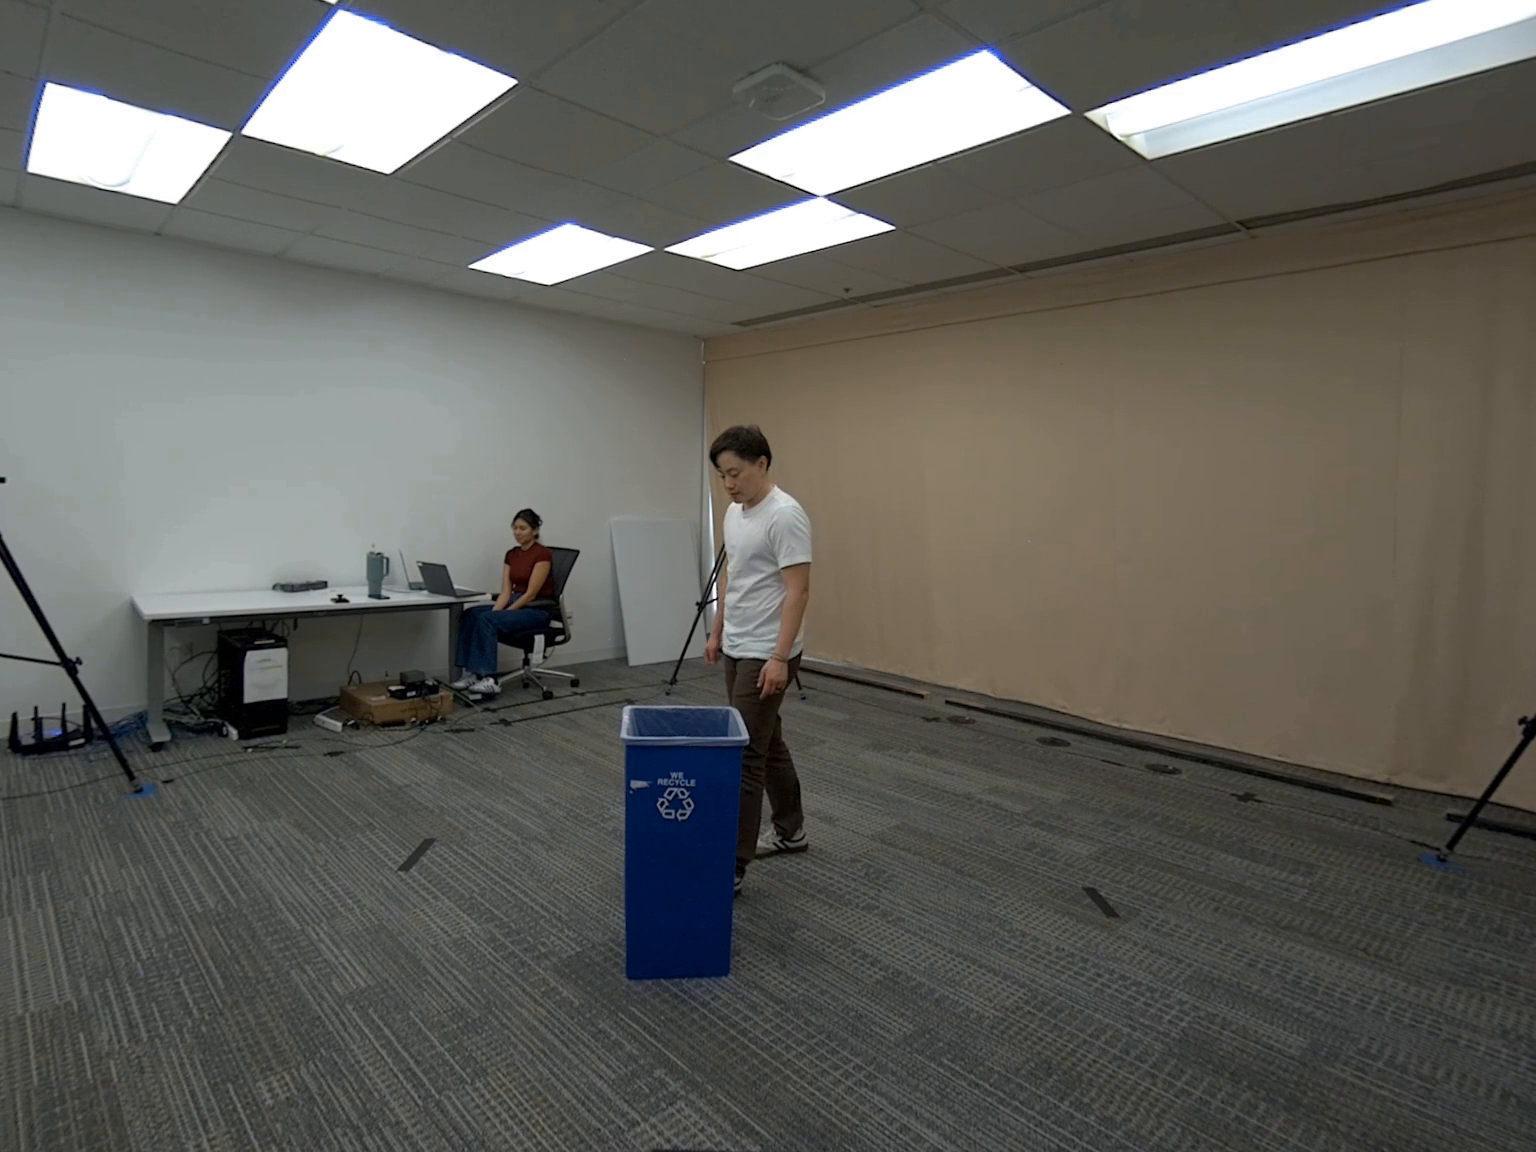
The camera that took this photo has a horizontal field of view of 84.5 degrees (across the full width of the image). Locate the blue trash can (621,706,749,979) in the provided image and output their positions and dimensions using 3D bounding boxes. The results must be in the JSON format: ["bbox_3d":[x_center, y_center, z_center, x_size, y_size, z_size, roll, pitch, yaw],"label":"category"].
[{"bbox_3d":[-0.276,0.796,2.544,0.376,0.712,0.377,1,3,-7],"label":"blue trash can"}]
